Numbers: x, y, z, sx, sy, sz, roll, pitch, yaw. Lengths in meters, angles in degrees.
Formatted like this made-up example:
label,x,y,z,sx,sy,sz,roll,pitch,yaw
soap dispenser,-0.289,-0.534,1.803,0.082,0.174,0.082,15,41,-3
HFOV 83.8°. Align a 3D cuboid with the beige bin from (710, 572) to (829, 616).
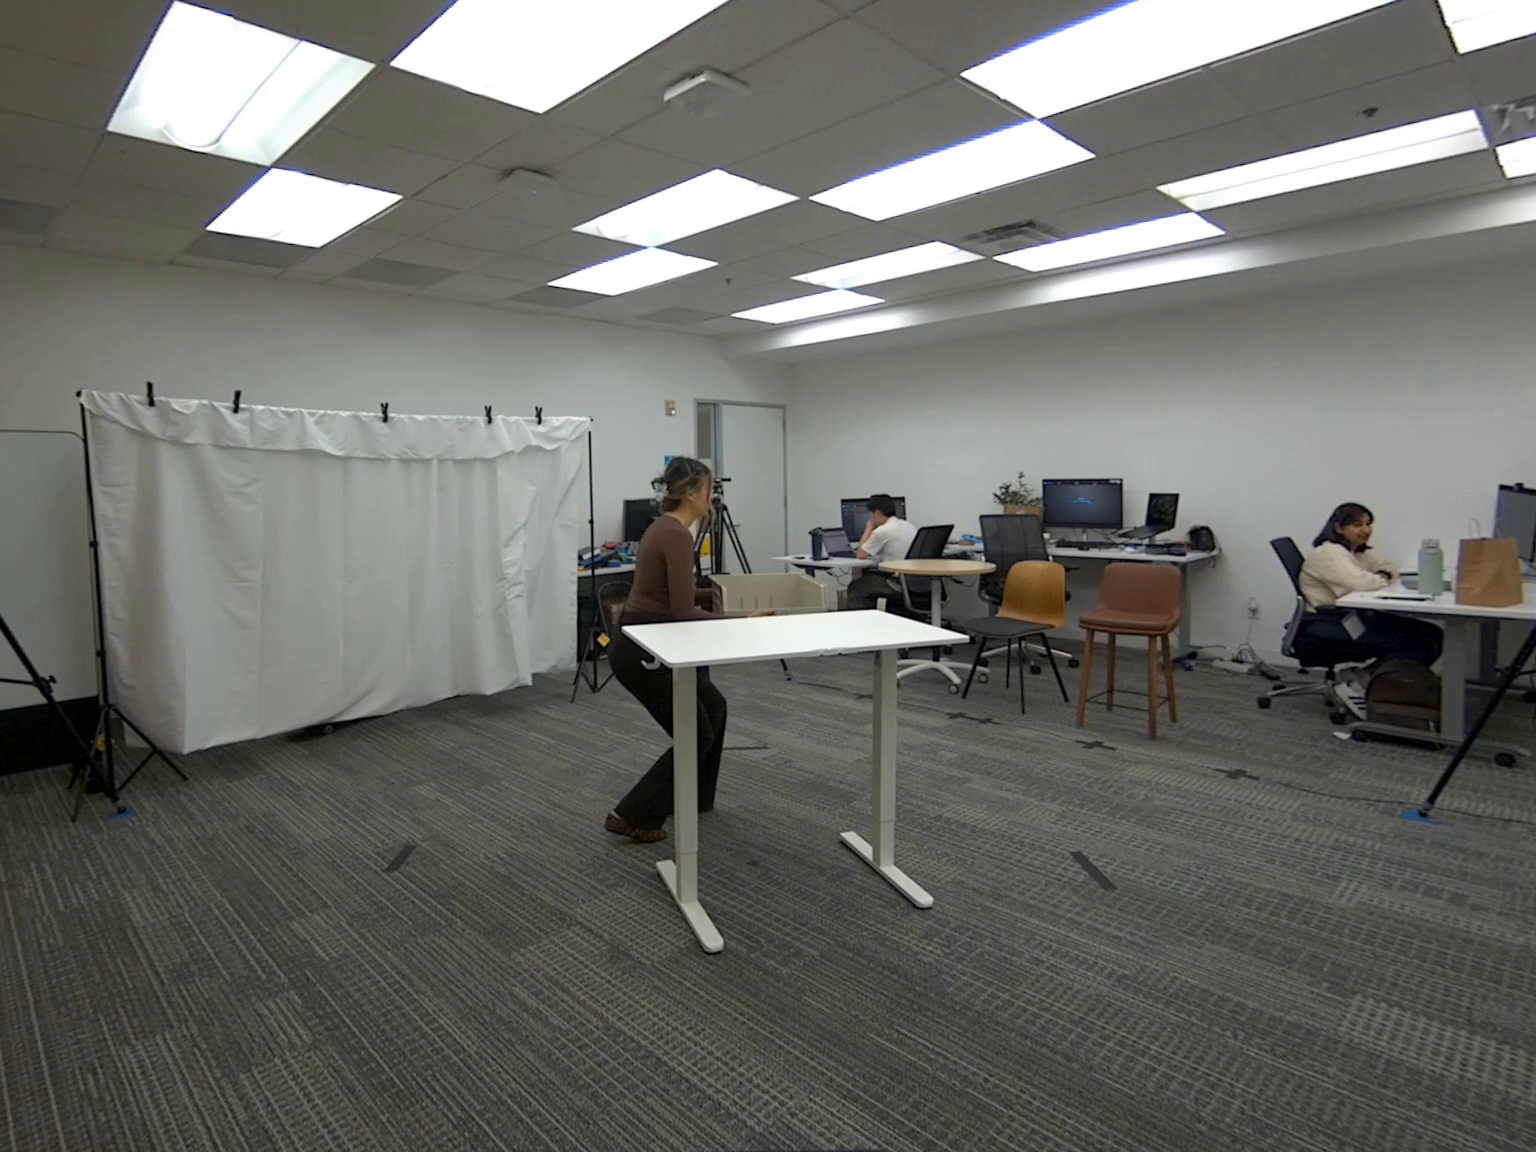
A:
label,x,y,z,sx,sy,sz,roll,pitch,yaw
beige bin,-0.009,0.108,3.508,0.418,0.188,0.383,-2,7,-12
